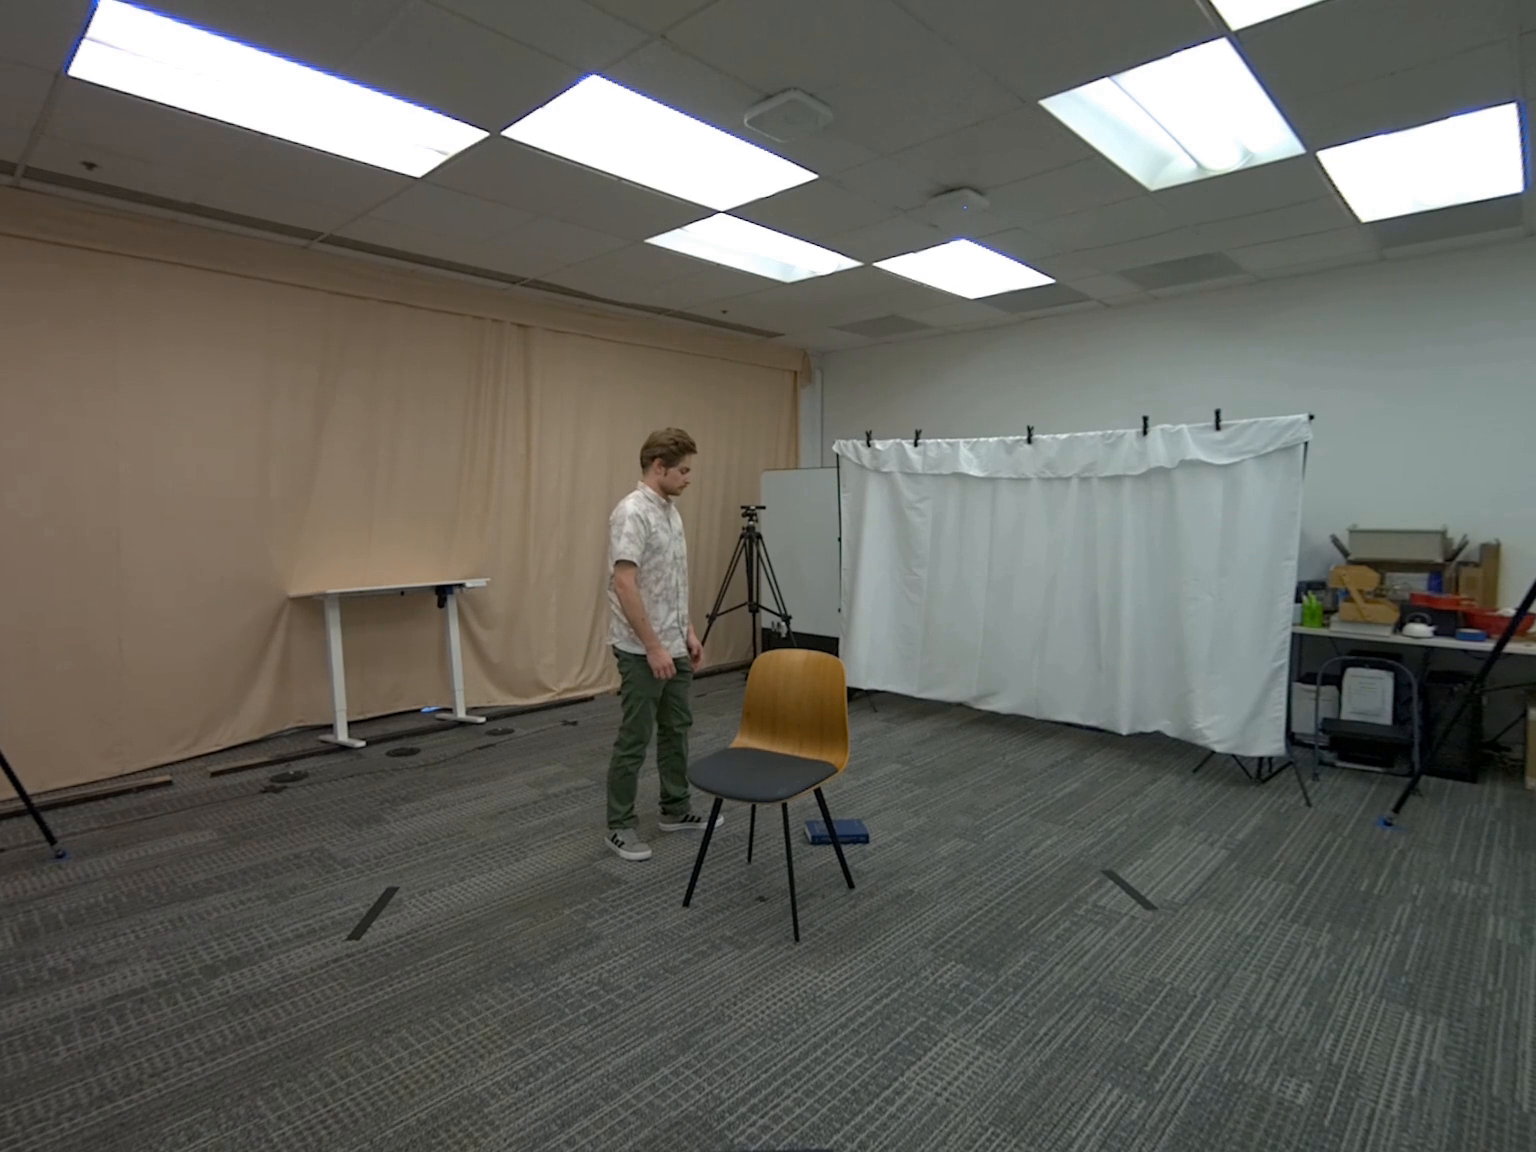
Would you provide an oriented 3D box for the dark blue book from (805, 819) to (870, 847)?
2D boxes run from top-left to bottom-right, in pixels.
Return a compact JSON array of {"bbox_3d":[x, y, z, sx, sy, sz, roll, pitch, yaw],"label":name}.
[{"bbox_3d":[0.292,1.074,3.536,0.244,0.045,0.165,-1,4,-5],"label":"dark blue book"}]
